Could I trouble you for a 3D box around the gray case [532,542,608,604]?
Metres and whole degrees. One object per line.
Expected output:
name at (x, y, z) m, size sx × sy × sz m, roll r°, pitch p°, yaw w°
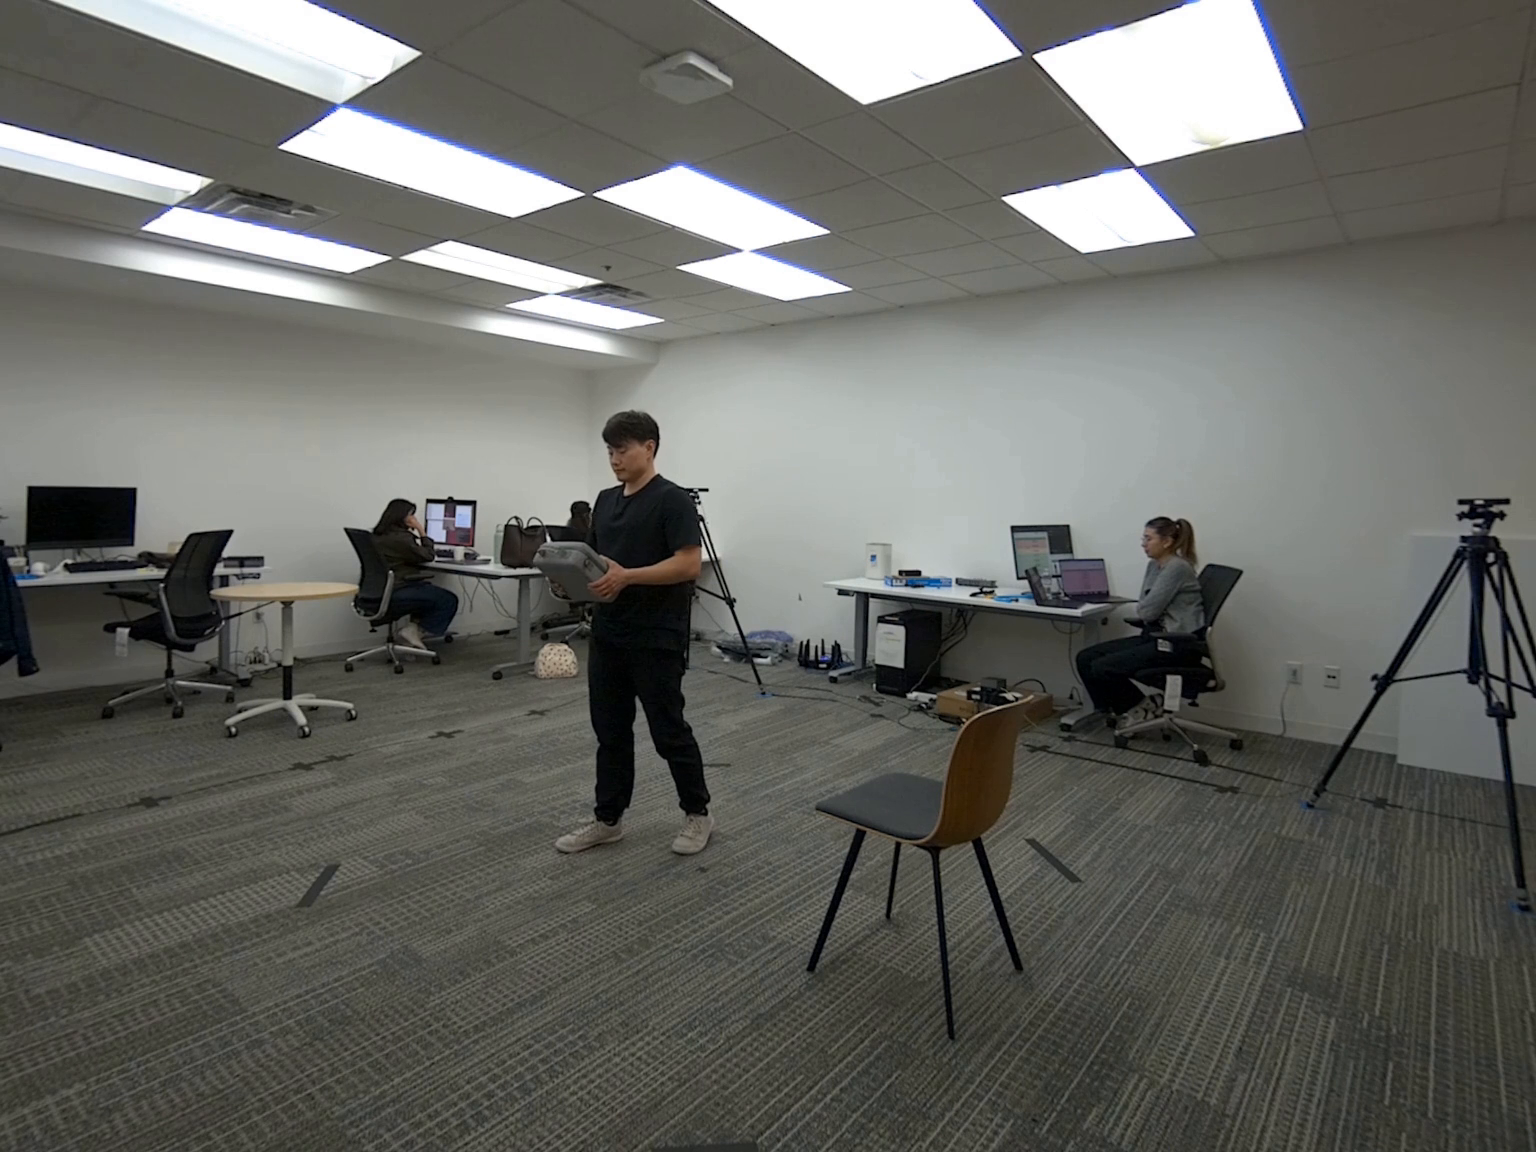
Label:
gray case at (-0.706, -0.022, 3.073) m, size 0.265 × 0.105 × 0.250 m, roll 0°, pitch -34°, yaw 42°
